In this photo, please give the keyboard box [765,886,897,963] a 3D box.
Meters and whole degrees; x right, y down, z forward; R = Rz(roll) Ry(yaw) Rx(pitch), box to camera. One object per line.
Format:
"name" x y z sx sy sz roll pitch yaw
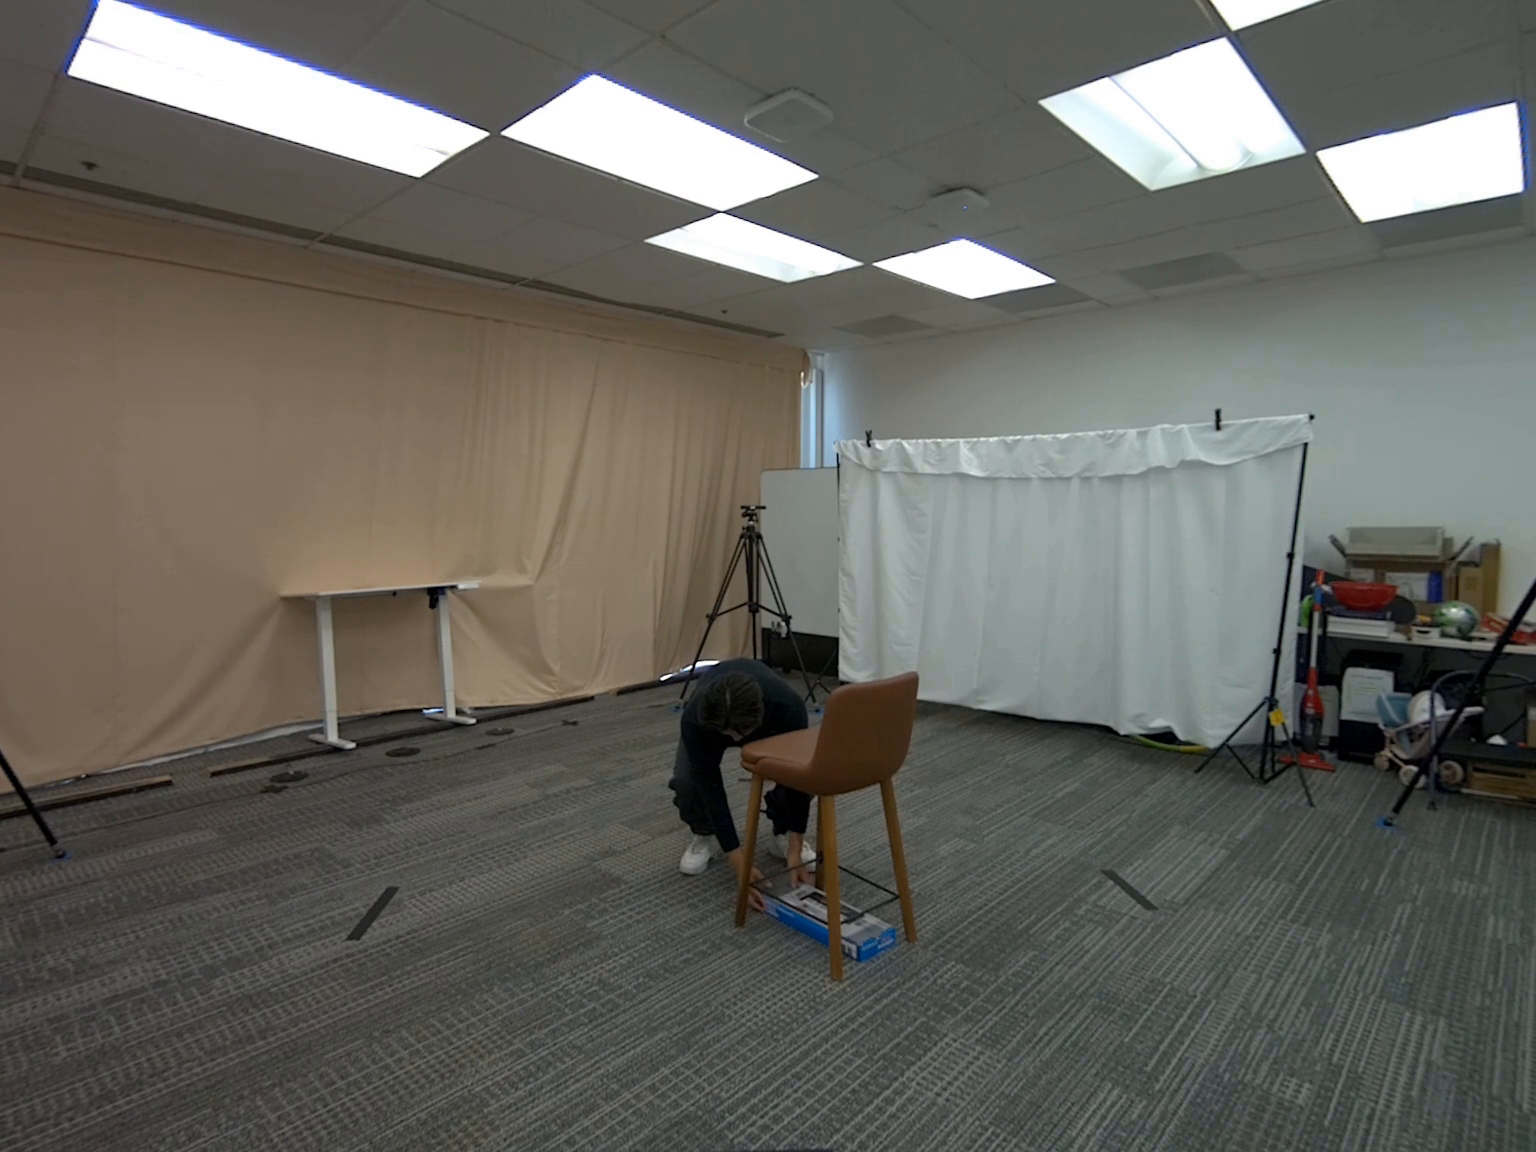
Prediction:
"keyboard box" 0.193 1.136 2.775 0.171 0.059 0.451 -8 9 -41
